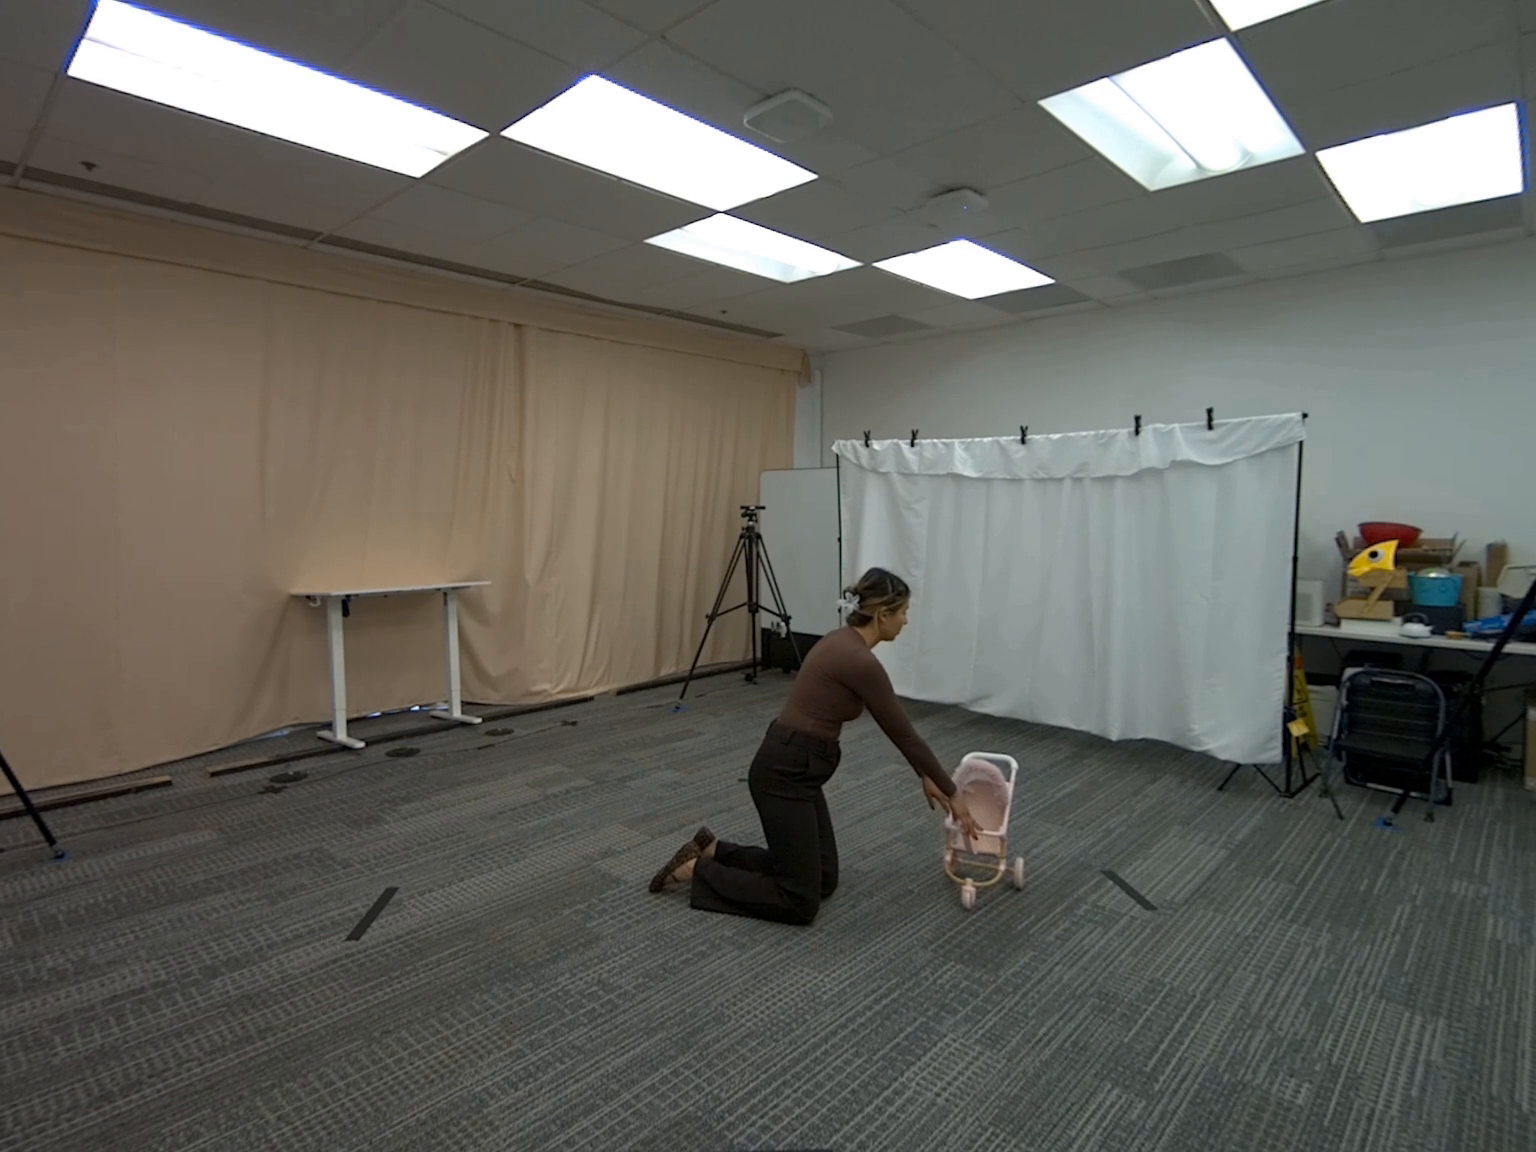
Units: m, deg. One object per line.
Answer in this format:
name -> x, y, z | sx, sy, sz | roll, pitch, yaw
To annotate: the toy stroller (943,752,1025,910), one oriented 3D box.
toy stroller -> 0.764, 0.904, 3.057 | 0.290, 0.538, 0.330 | 0, -13, 31
